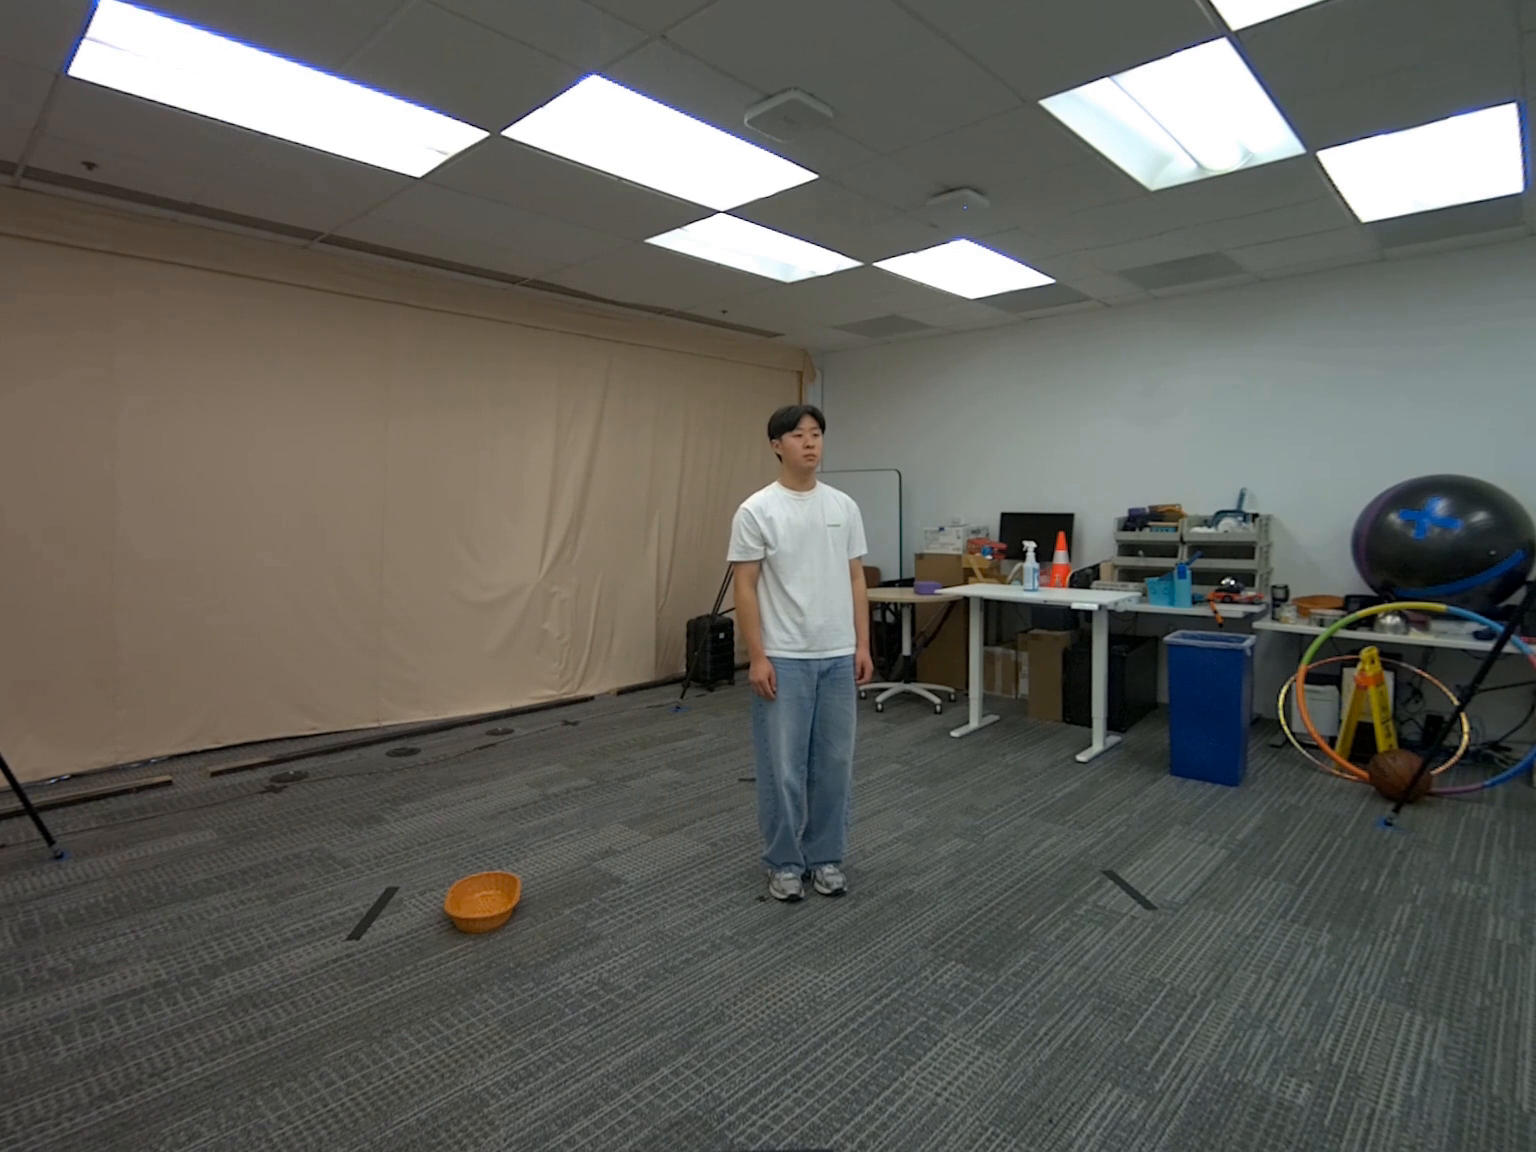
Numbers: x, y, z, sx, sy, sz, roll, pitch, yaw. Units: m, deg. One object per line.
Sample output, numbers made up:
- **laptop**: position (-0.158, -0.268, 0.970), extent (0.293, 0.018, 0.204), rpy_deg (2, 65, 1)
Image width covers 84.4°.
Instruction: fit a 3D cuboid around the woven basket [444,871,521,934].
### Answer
- **woven basket**: position (-0.977, 1.121, 2.895), extent (0.251, 0.073, 0.354), rpy_deg (-1, 4, -8)
